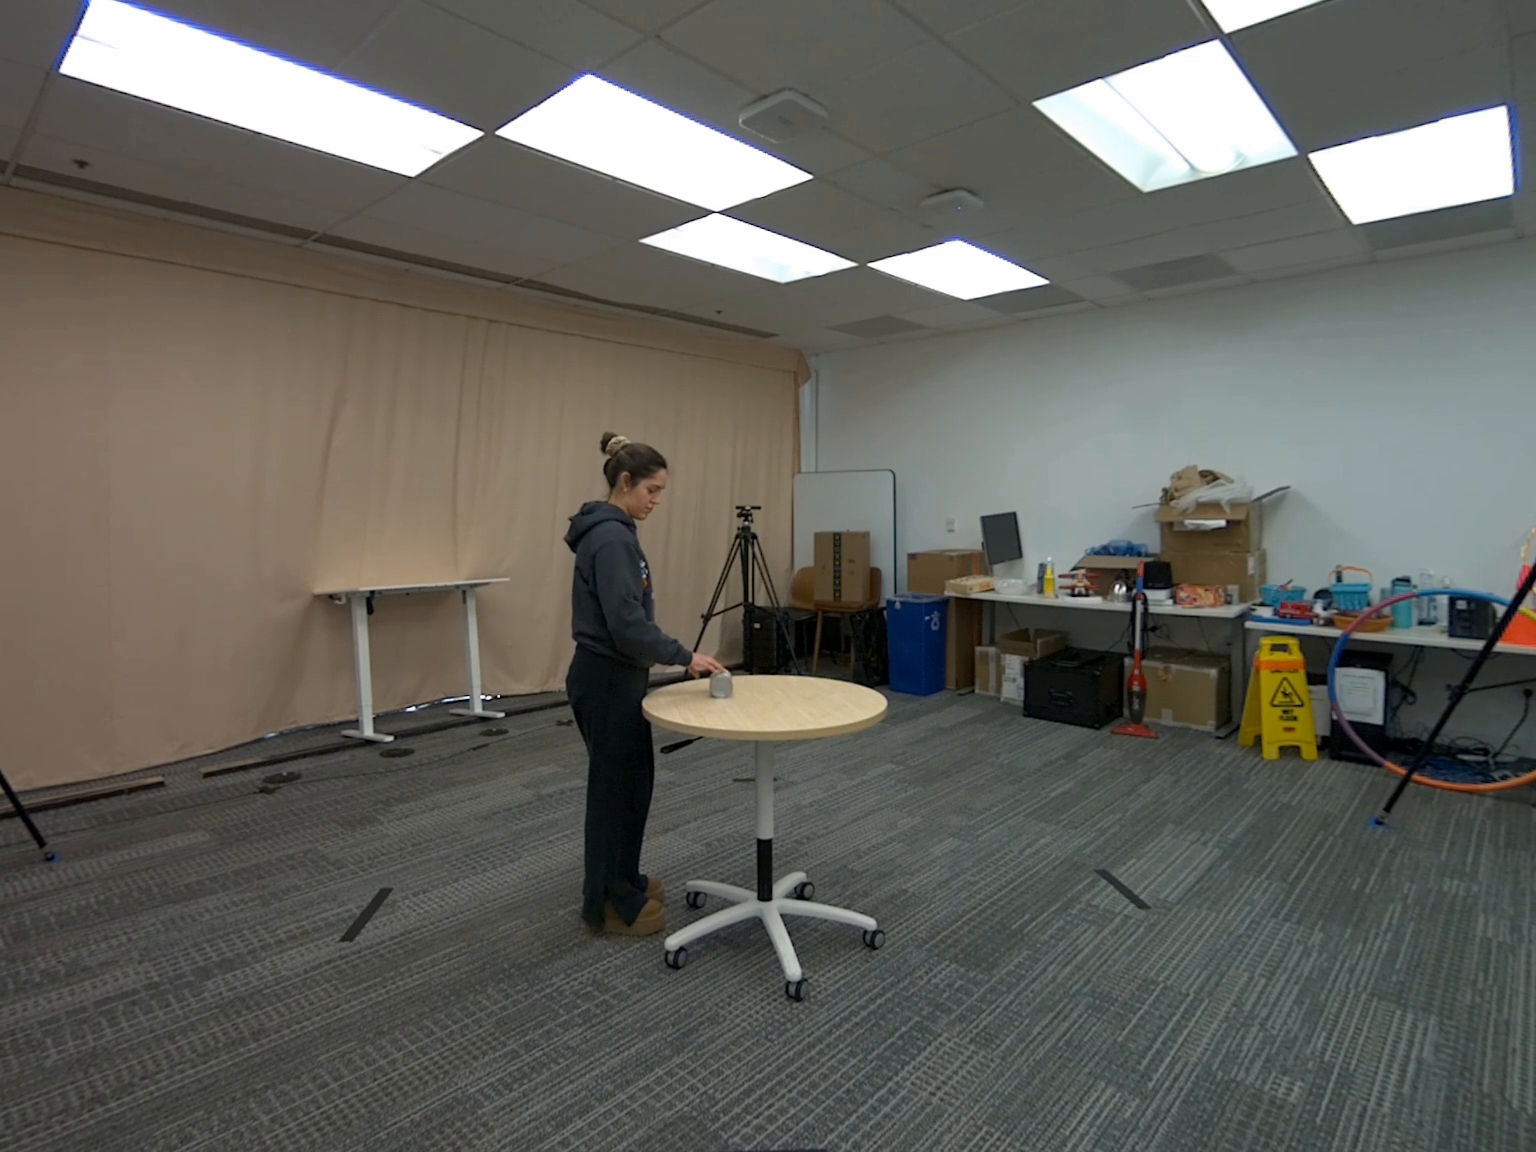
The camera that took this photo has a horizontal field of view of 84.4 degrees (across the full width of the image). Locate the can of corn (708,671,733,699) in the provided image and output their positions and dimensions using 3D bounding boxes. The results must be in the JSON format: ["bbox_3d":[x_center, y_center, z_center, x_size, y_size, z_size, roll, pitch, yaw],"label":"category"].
[{"bbox_3d":[-0.135,0.347,2.721,0.074,0.074,0.111,0,1,-1],"label":"can of corn"}]
